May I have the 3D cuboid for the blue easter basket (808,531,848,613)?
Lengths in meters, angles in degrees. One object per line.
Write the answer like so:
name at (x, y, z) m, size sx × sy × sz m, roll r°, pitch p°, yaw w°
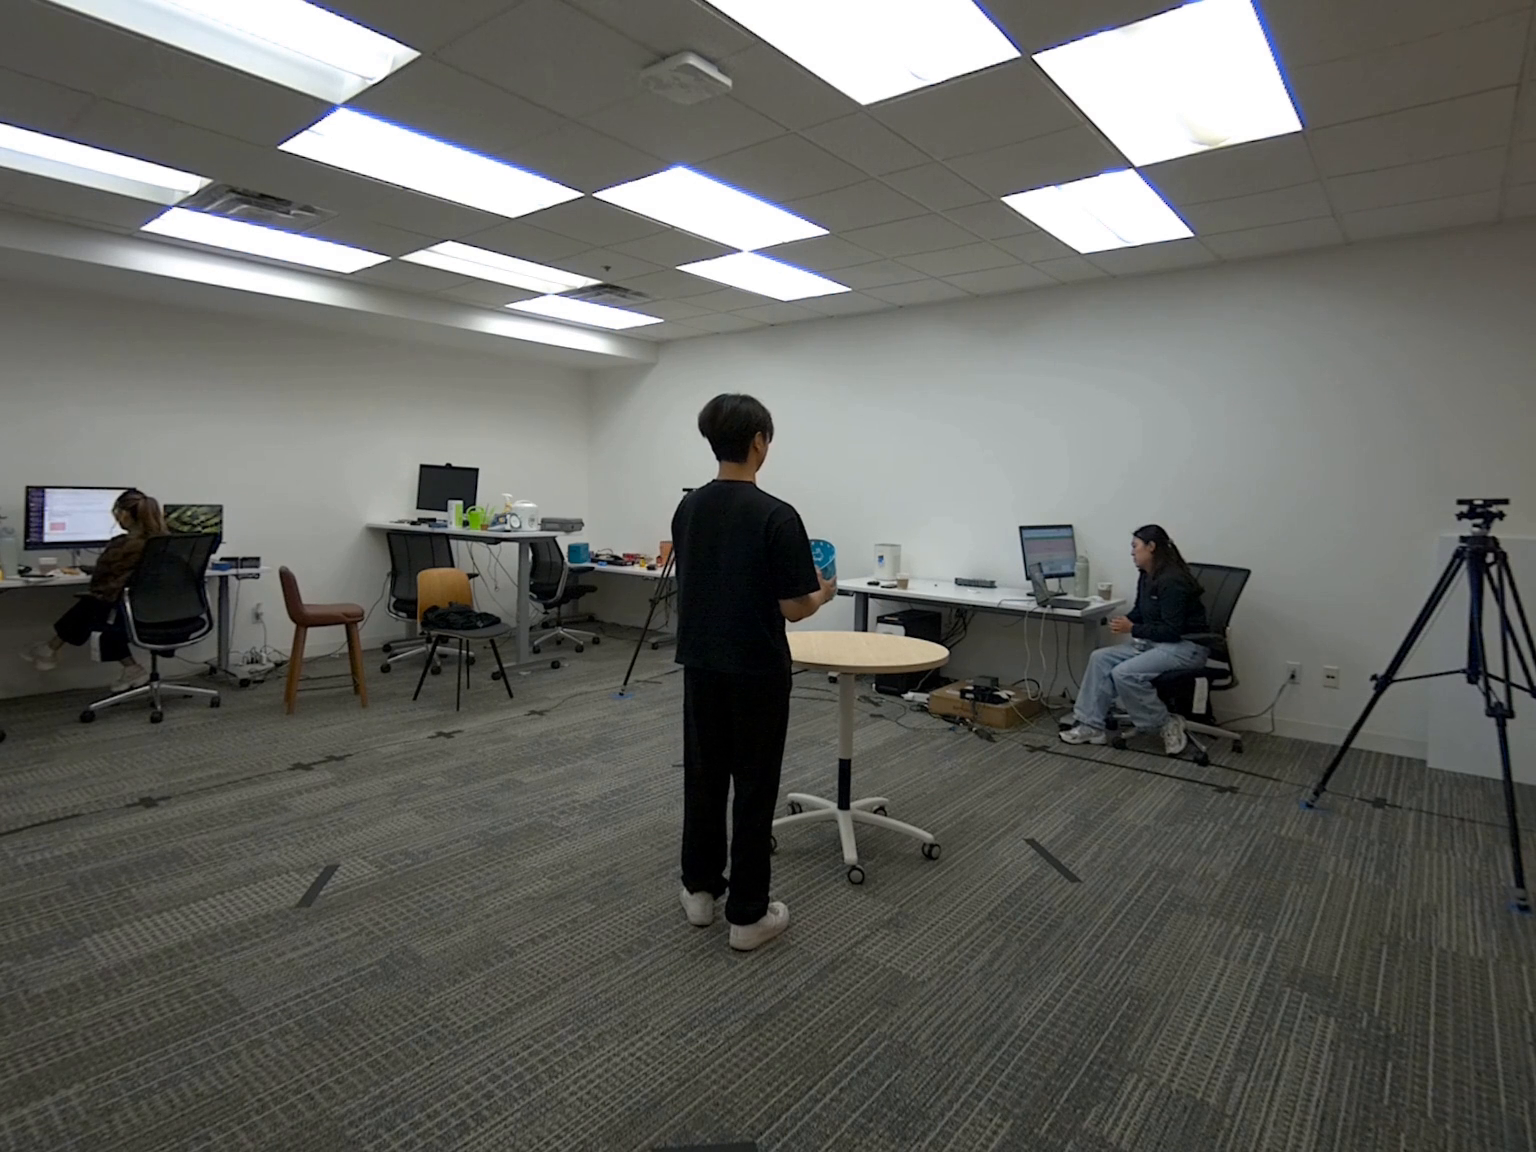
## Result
blue easter basket at (0.123, -0.002, 2.927) m, size 0.245 × 0.151 × 0.250 m, roll -14°, pitch 30°, yaw 6°
